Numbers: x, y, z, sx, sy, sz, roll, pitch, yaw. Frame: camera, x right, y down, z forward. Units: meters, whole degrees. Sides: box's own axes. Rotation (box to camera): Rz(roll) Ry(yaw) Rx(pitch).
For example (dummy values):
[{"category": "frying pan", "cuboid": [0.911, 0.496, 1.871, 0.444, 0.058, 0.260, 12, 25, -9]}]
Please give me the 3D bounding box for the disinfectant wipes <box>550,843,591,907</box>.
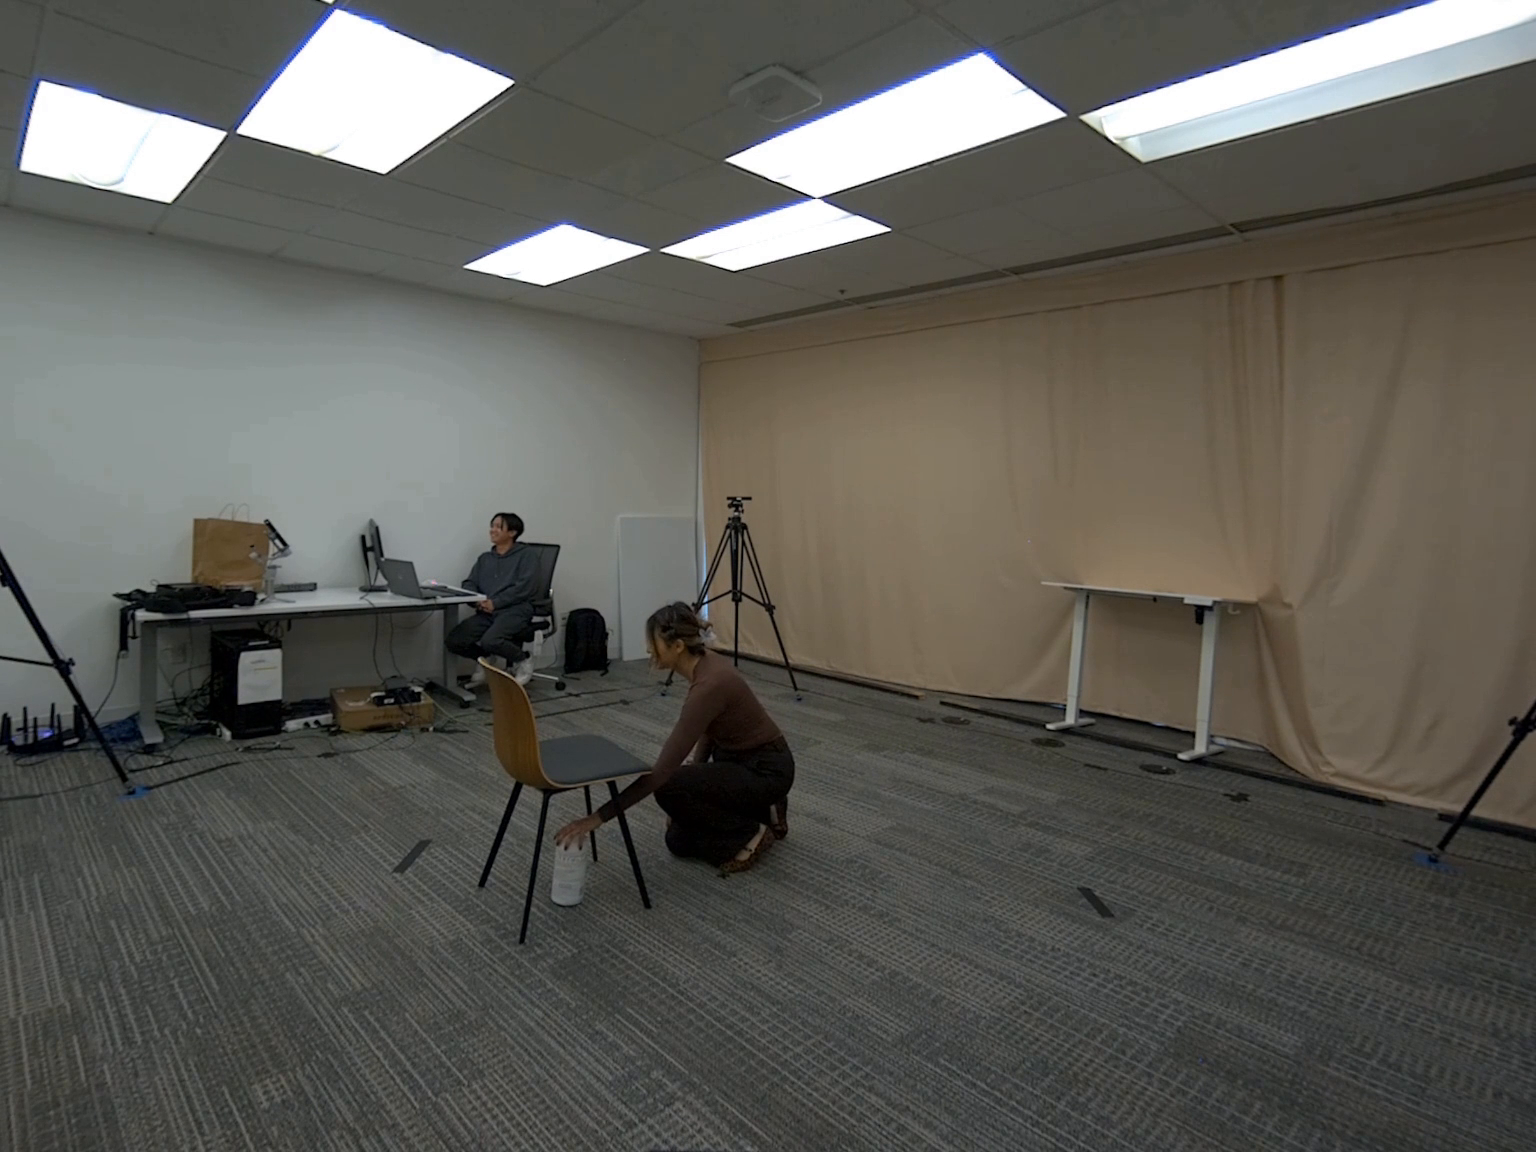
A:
[{"category": "disinfectant wipes", "cuboid": [-0.690, 1.012, 2.888, 0.118, 0.217, 0.118, 7, 2, -2]}]
